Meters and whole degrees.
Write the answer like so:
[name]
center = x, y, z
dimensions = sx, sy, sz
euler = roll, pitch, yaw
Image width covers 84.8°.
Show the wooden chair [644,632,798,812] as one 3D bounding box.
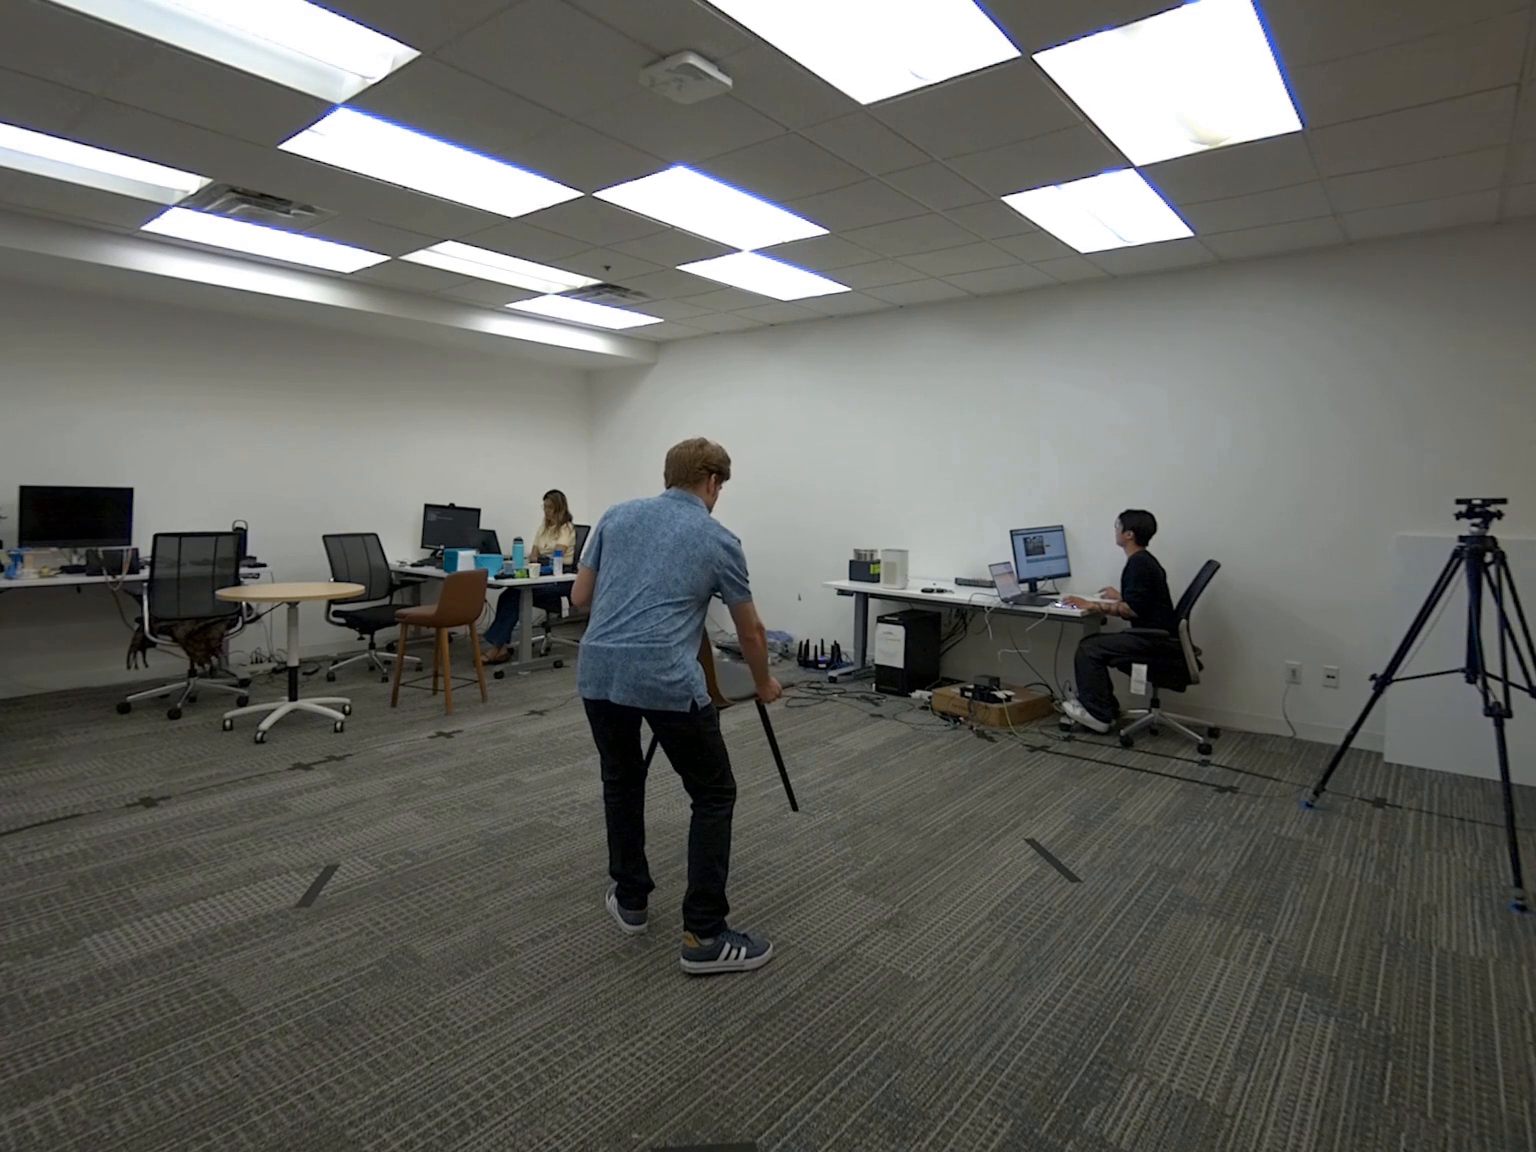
[wooden chair]
center = -0.212, 0.448, 3.129
dimensions = 0.510, 0.870, 0.495
euler = -10, 12, -41
